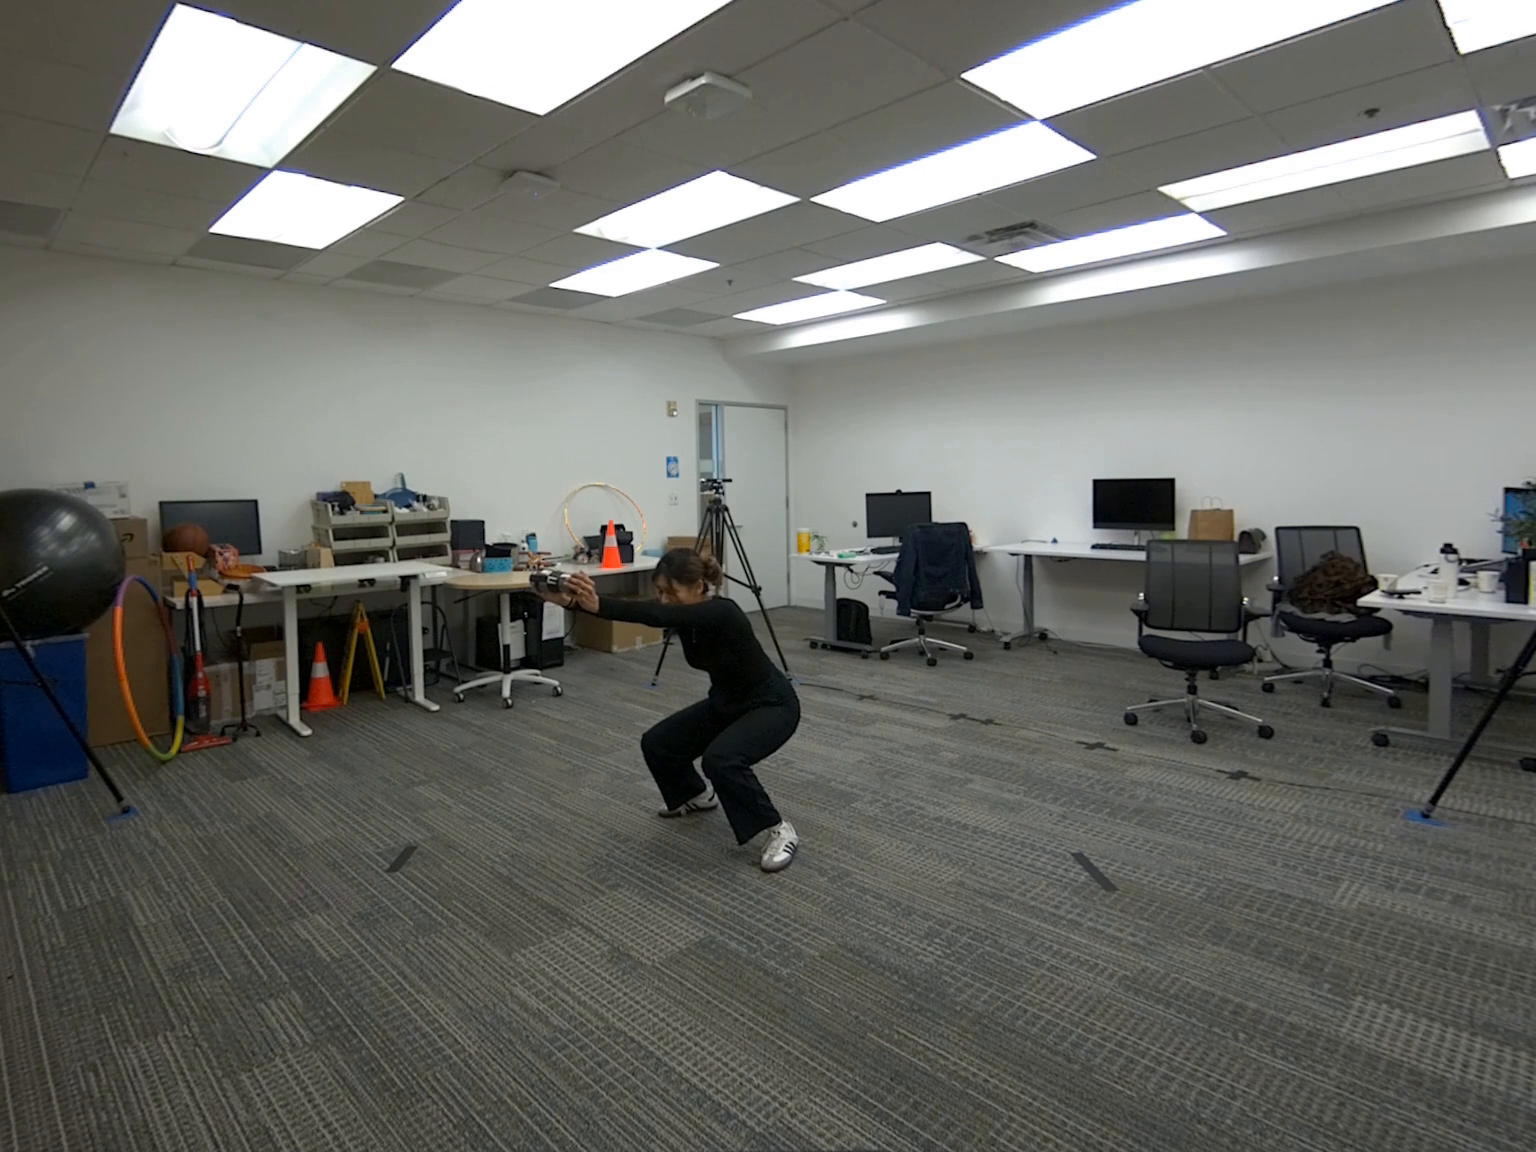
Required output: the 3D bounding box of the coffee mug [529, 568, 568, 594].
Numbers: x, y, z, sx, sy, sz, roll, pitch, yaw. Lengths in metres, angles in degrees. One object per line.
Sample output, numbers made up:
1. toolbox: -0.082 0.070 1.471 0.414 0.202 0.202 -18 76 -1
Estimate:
1. coffee mug: -0.696 0.027 2.827 0.119 0.087 0.209 -15 13 -37
